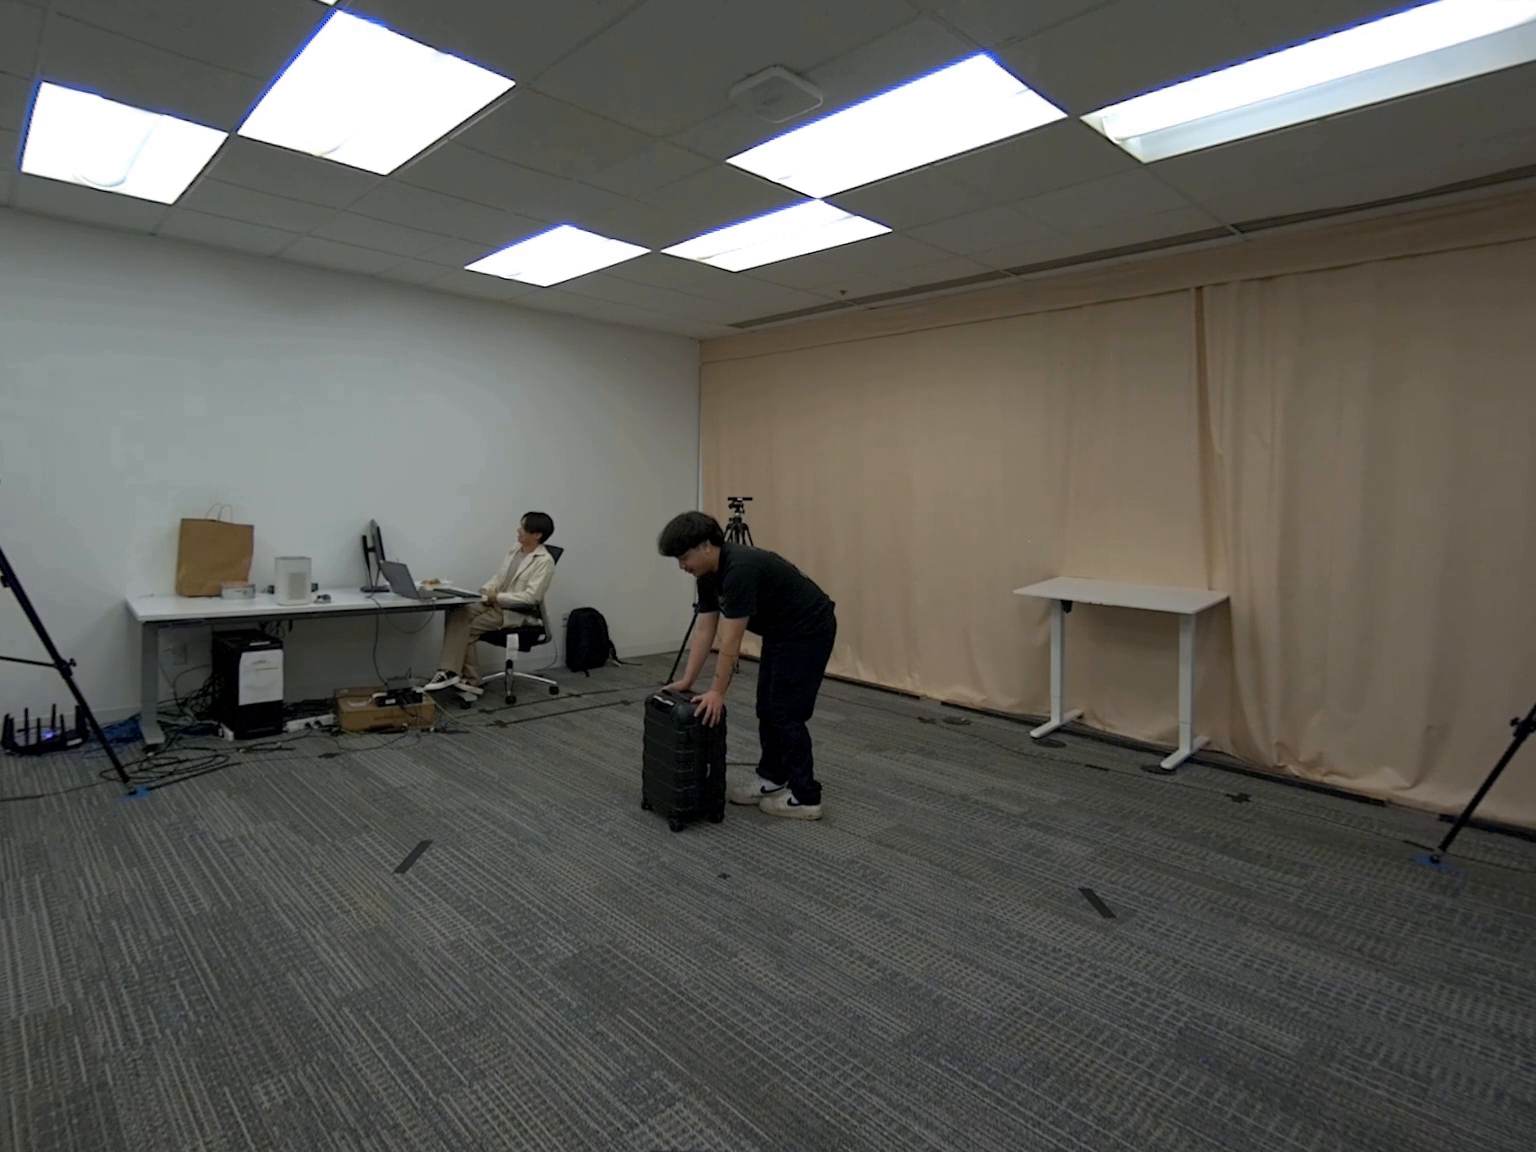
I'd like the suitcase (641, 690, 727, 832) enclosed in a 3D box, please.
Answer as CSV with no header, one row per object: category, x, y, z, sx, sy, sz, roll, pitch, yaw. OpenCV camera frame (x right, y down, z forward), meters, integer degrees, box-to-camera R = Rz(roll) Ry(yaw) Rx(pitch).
suitcase,-0.378,0.778,3.669,0.243,0.548,0.385,-1,5,-36
